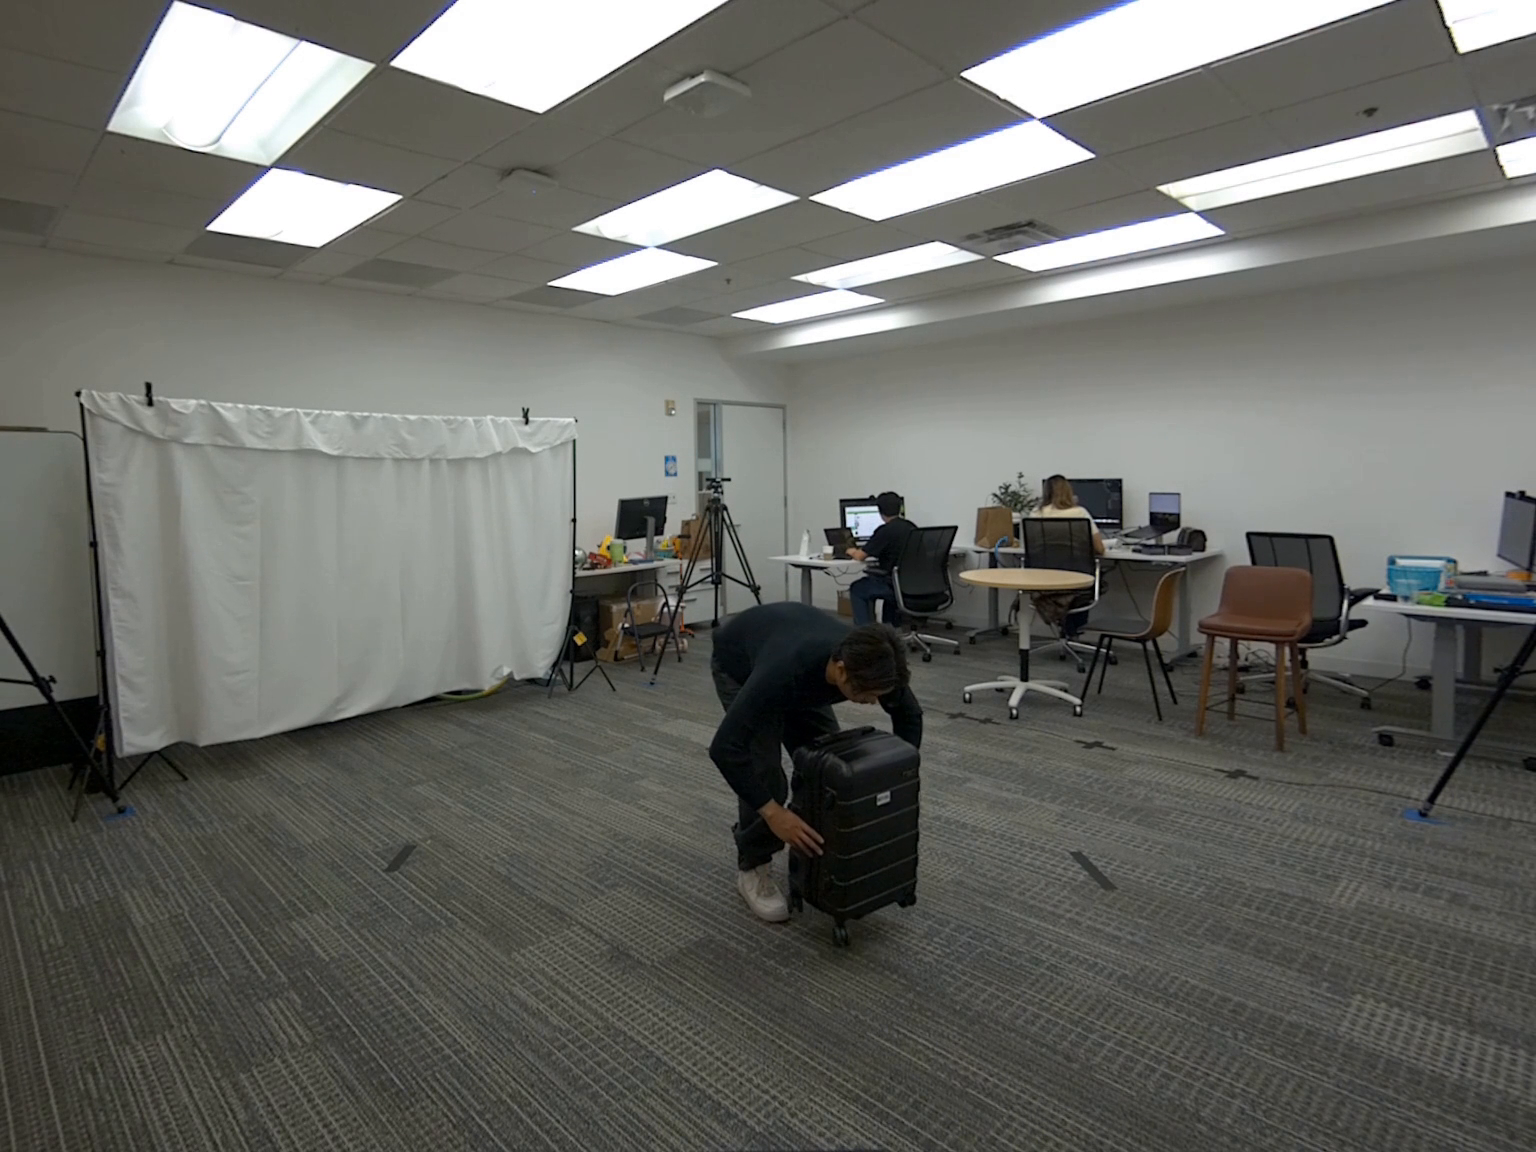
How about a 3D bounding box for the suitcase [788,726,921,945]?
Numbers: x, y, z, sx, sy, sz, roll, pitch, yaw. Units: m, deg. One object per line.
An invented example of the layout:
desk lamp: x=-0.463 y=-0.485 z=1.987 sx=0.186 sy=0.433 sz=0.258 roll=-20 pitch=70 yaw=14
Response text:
suitcase: x=0.274 y=0.750 z=2.588 sx=0.366 sy=0.545 sz=0.256 roll=-5 pitch=10 yaw=-35
